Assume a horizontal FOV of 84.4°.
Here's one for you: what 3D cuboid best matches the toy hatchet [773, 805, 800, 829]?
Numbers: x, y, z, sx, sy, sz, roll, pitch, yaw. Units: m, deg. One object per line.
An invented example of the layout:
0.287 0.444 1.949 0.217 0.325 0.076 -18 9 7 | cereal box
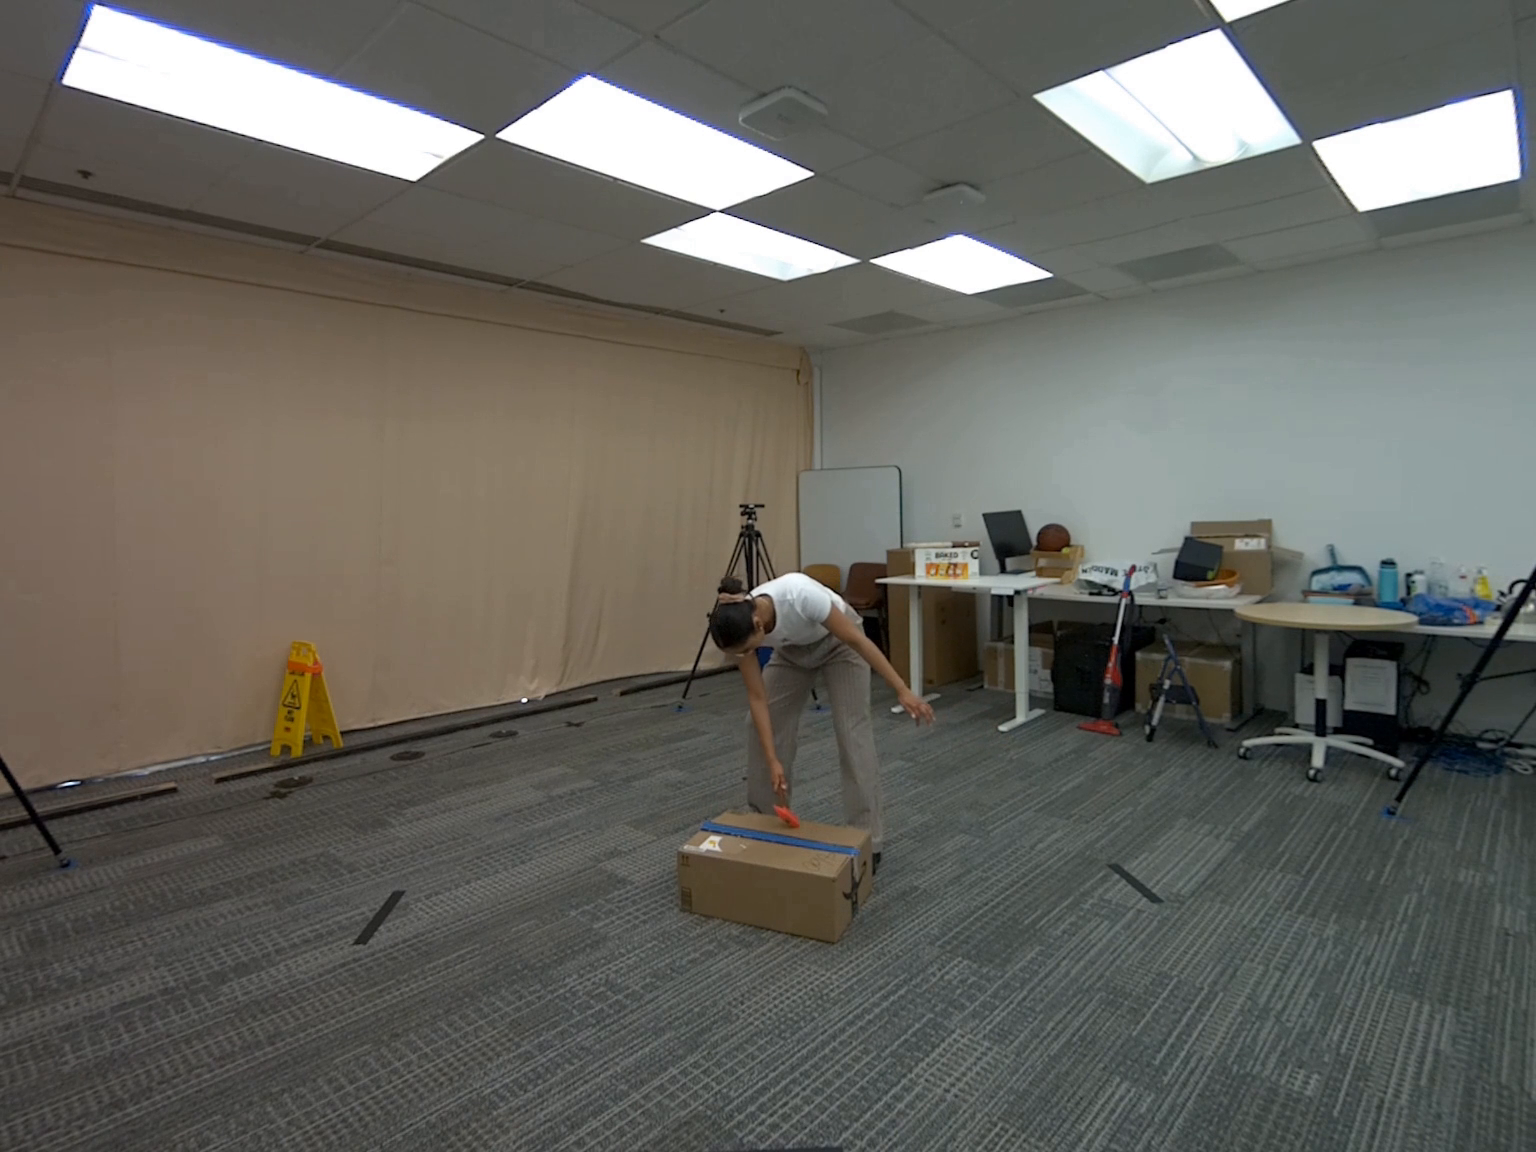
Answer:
0.094 0.852 3.144 0.131 0.029 0.269 40 10 0 | toy hatchet
